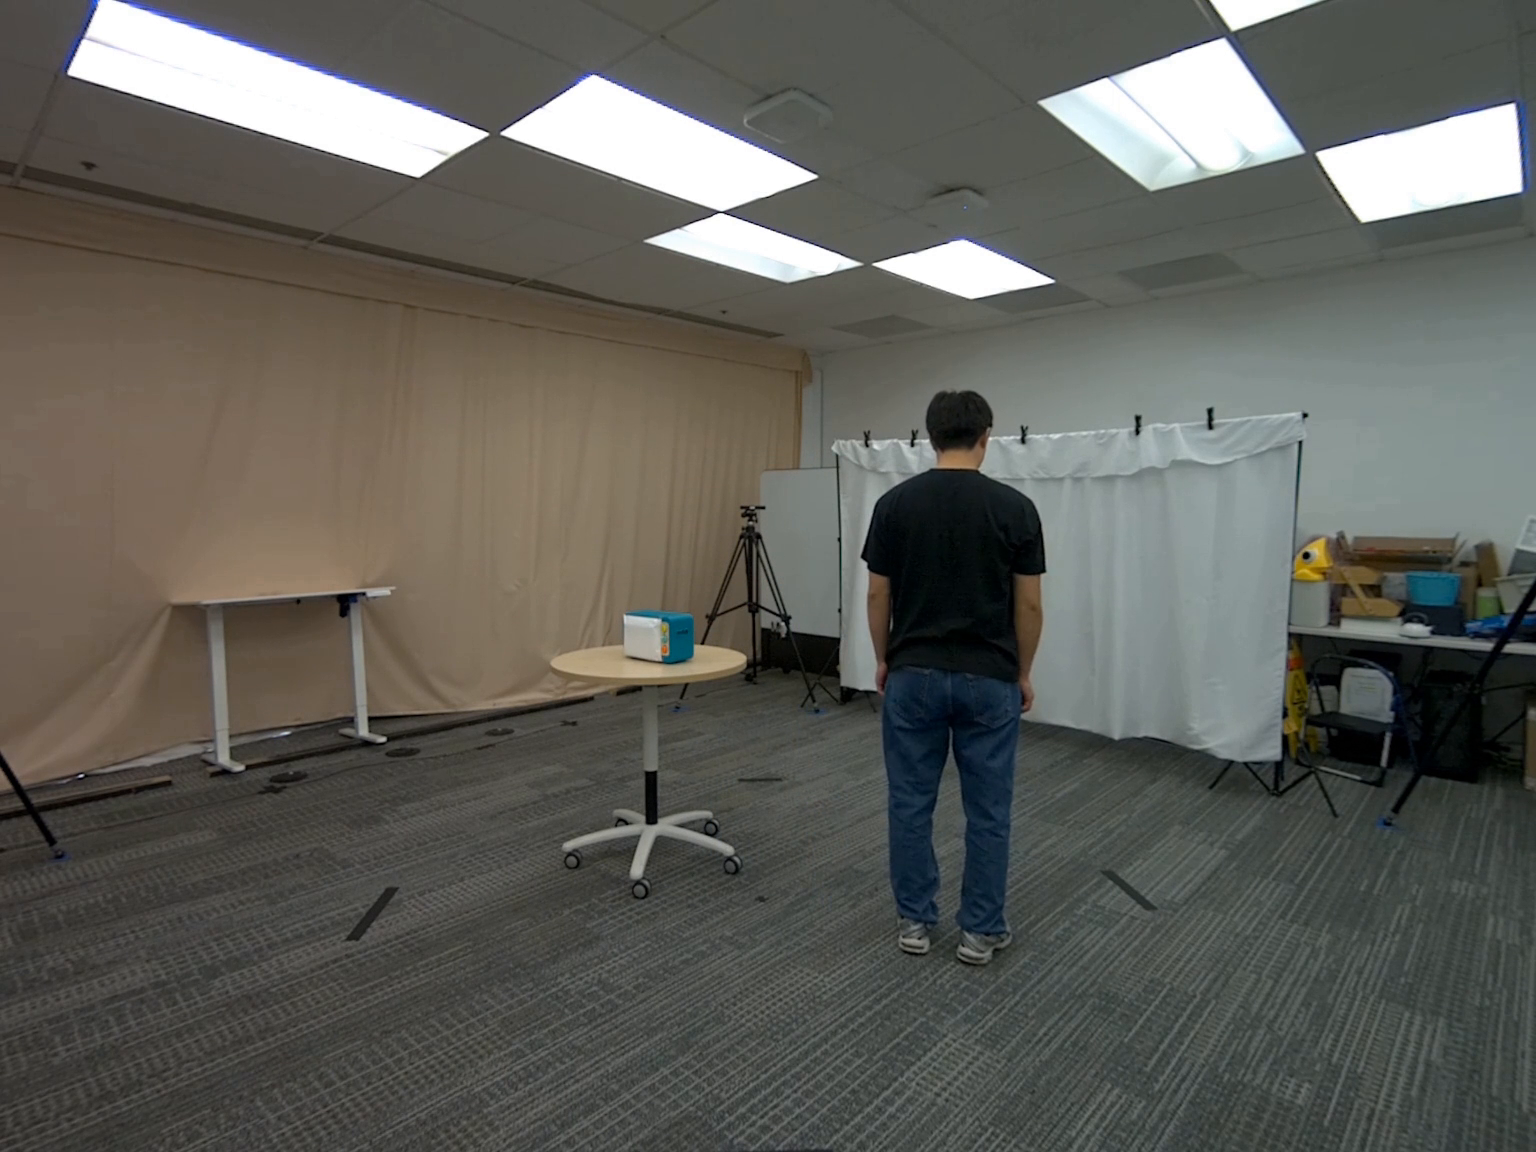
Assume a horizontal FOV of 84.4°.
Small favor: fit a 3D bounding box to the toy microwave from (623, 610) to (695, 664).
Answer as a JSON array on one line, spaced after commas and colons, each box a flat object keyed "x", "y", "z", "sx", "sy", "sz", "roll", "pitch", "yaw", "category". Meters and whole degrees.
[{"x": -0.435, "y": 0.235, "z": 3.286, "sx": 0.295, "sy": 0.184, "sz": 0.148, "roll": 3, "pitch": 4, "yaw": 41, "category": "toy microwave"}]
